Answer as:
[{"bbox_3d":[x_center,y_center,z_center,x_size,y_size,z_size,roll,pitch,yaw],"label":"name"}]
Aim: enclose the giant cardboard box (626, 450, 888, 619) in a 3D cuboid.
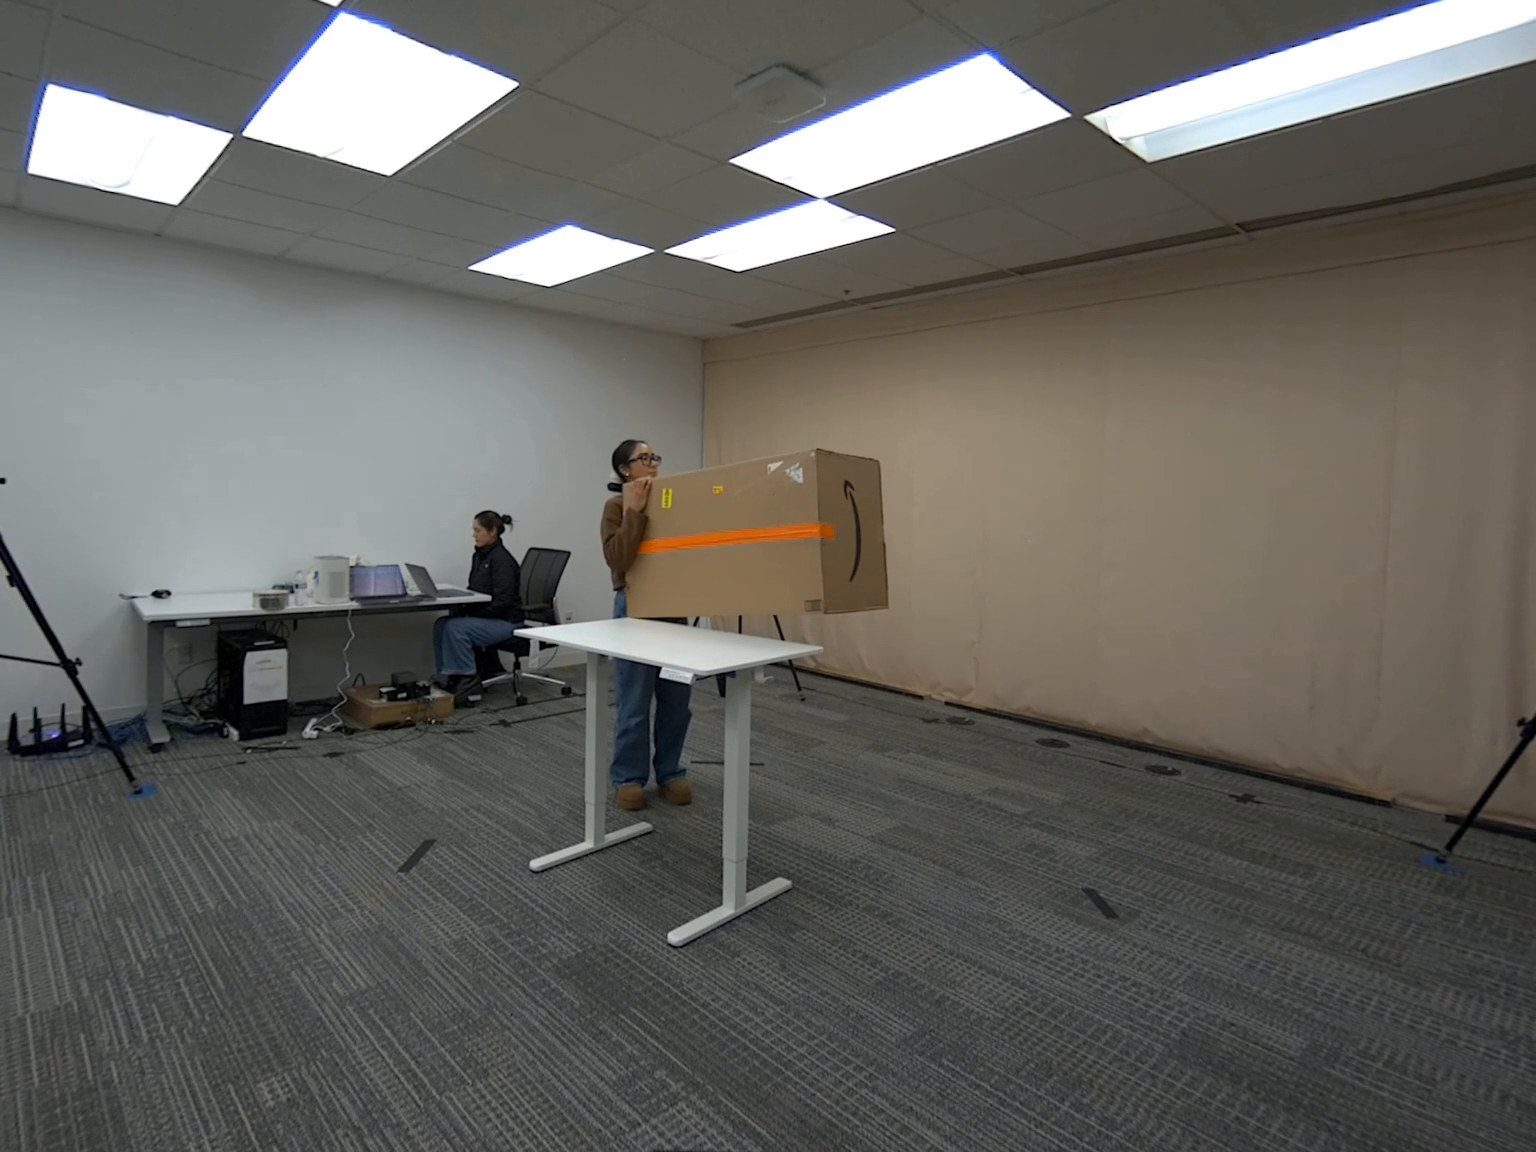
[{"bbox_3d":[-0.081,-0.129,3.392,1.048,0.579,0.416,-4,-4,41],"label":"giant cardboard box"}]
